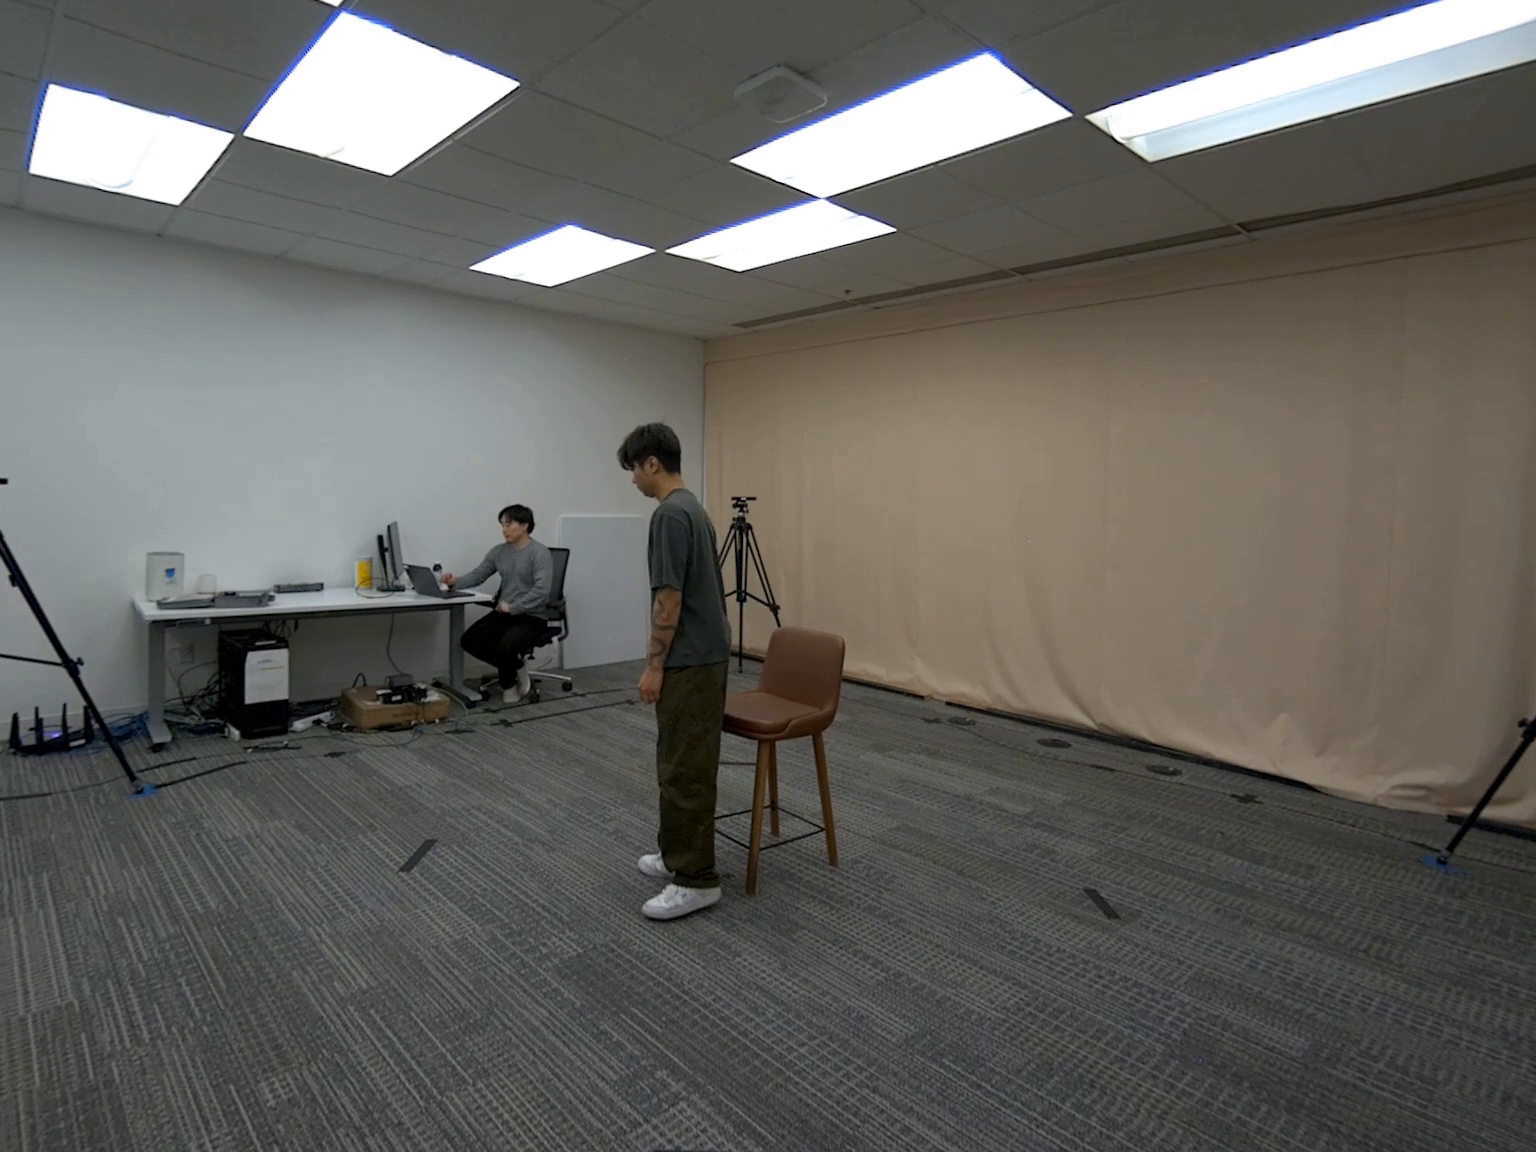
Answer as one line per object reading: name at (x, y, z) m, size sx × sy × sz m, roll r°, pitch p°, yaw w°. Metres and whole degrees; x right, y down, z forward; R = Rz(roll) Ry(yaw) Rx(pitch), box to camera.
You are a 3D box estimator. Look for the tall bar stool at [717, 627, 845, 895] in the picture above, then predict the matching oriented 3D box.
tall bar stool at (-0.011, 0.660, 3.217) m, size 0.456 × 0.889 × 0.468 m, roll 1°, pitch 2°, yaw -39°
